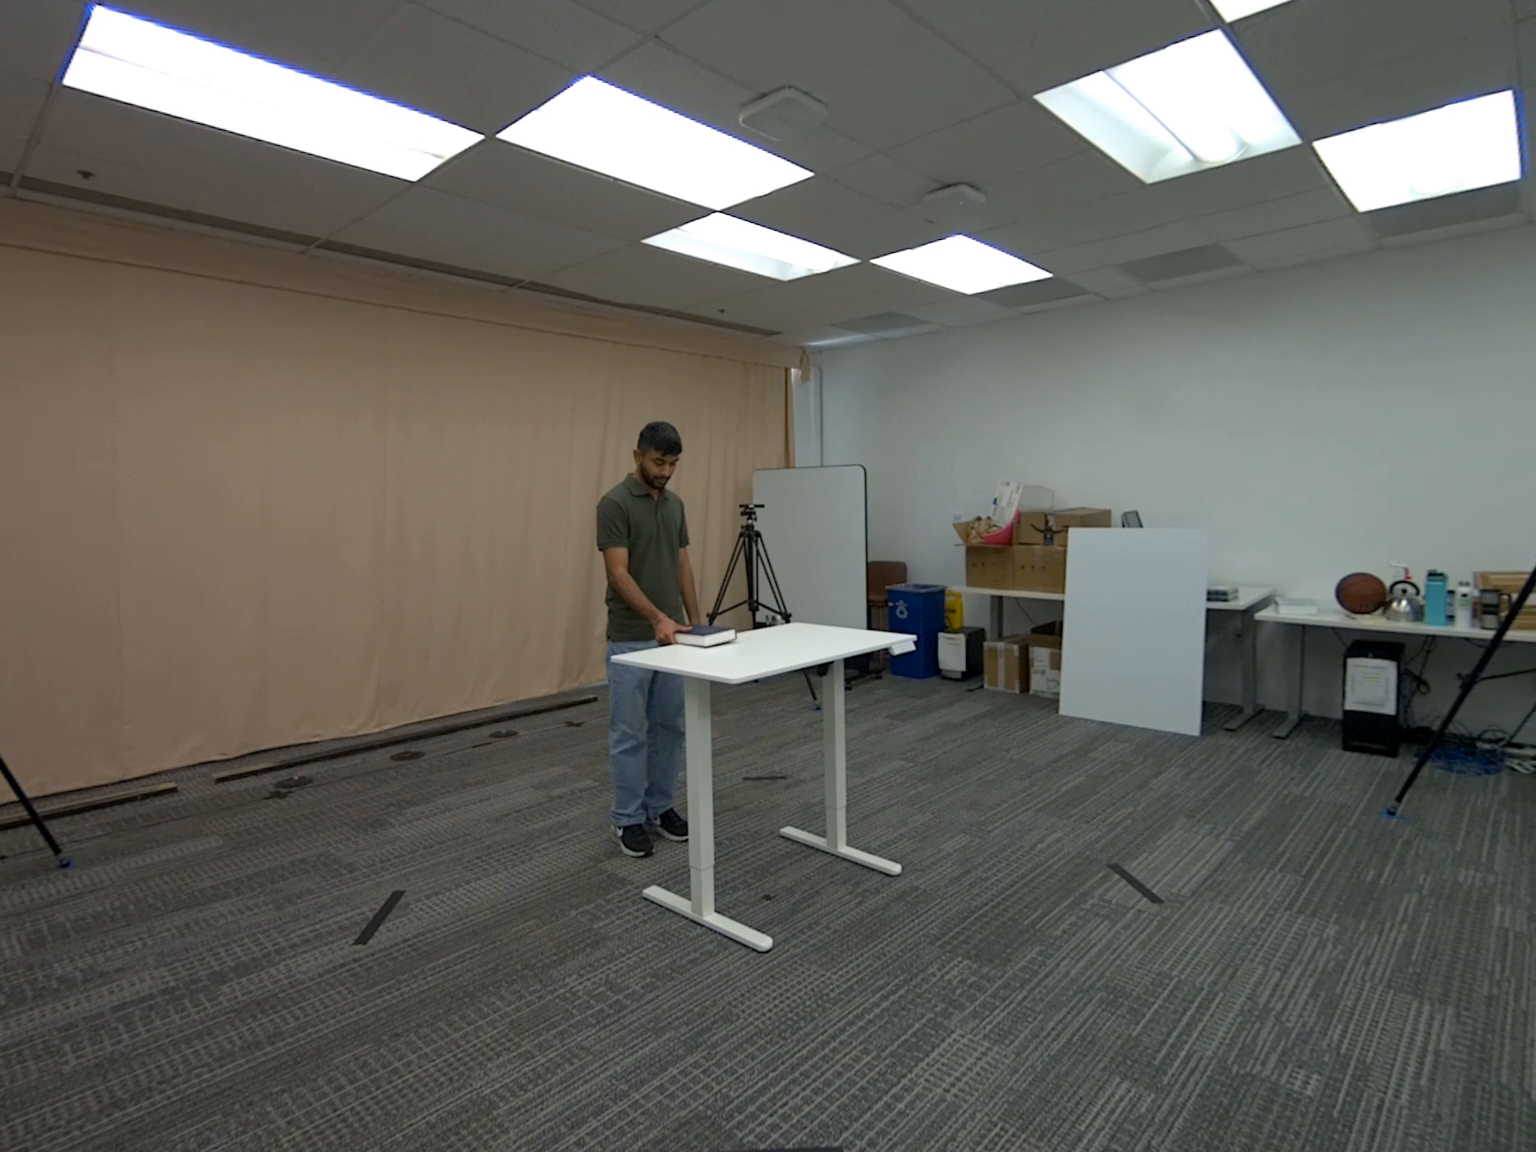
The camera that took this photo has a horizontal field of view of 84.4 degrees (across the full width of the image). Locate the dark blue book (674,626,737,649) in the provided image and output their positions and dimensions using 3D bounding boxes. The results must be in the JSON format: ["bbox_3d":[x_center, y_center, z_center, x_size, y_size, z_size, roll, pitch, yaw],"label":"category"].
[{"bbox_3d":[-0.256,0.216,3.166,0.159,0.045,0.253,-12,9,-43],"label":"dark blue book"}]
